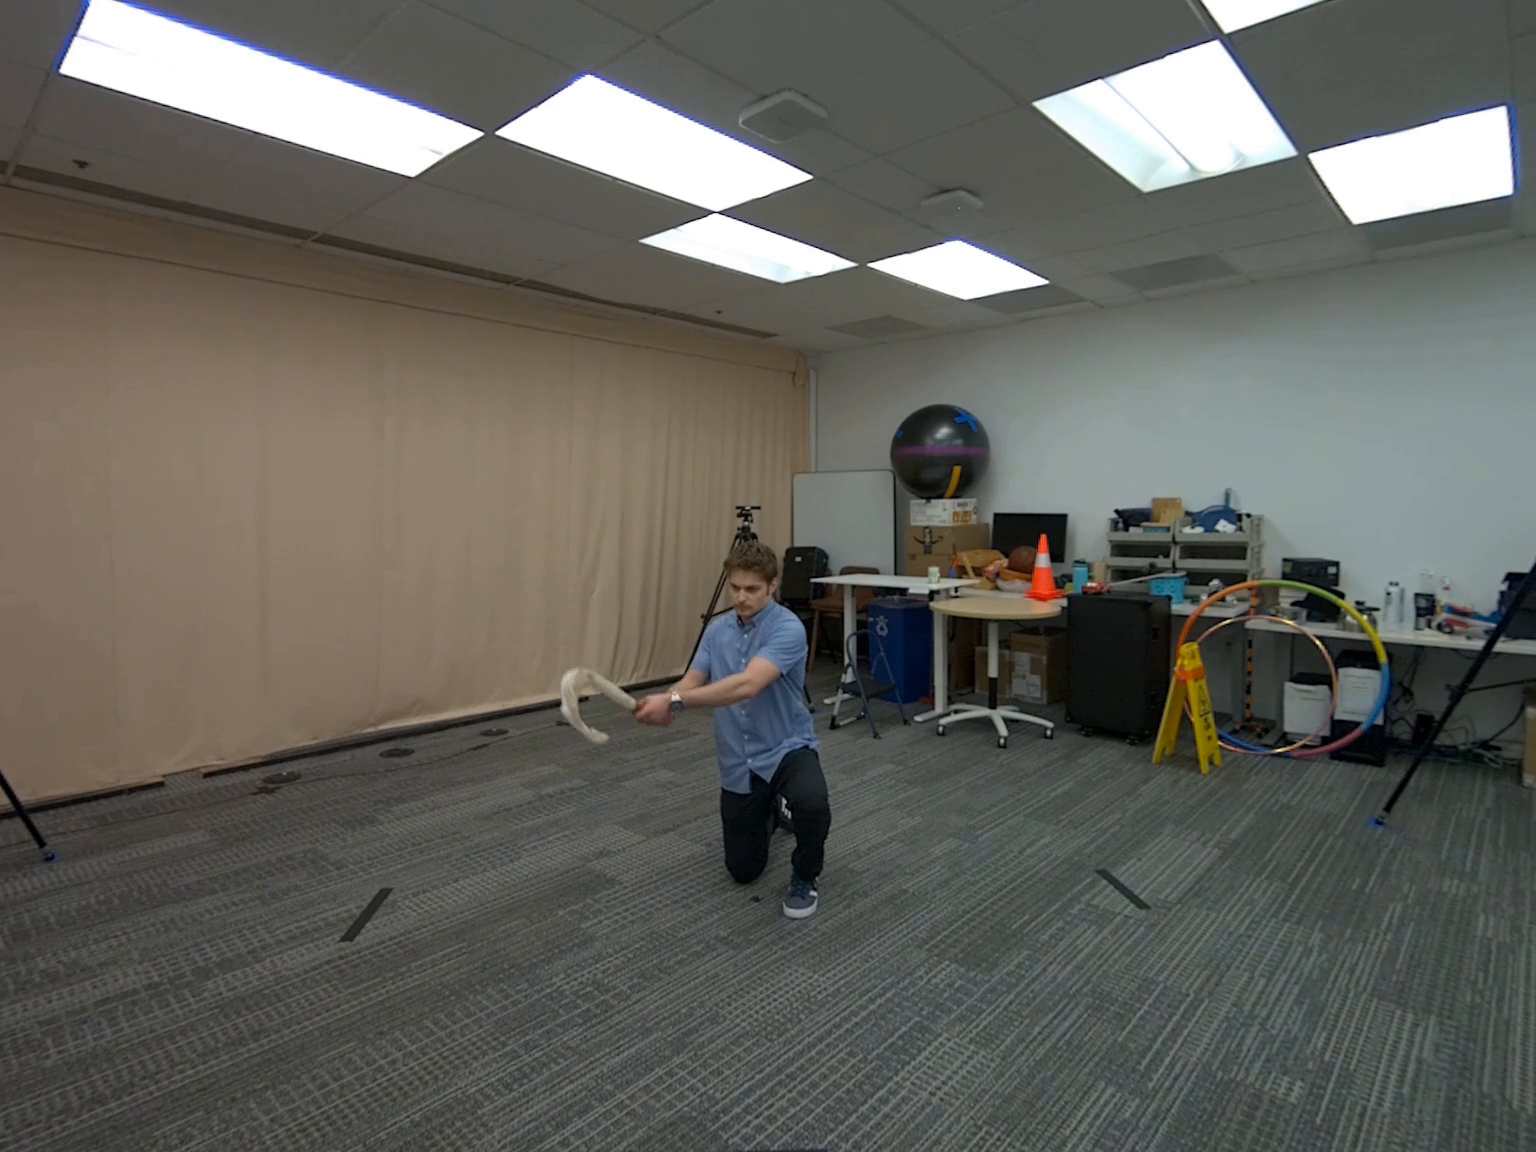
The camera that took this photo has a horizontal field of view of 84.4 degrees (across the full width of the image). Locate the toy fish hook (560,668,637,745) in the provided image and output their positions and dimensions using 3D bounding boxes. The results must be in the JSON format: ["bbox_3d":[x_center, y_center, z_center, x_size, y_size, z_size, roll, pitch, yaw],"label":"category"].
[{"bbox_3d":[-0.456,0.438,2.697,0.049,0.228,0.488,-21,-35,33],"label":"toy fish hook"}]
